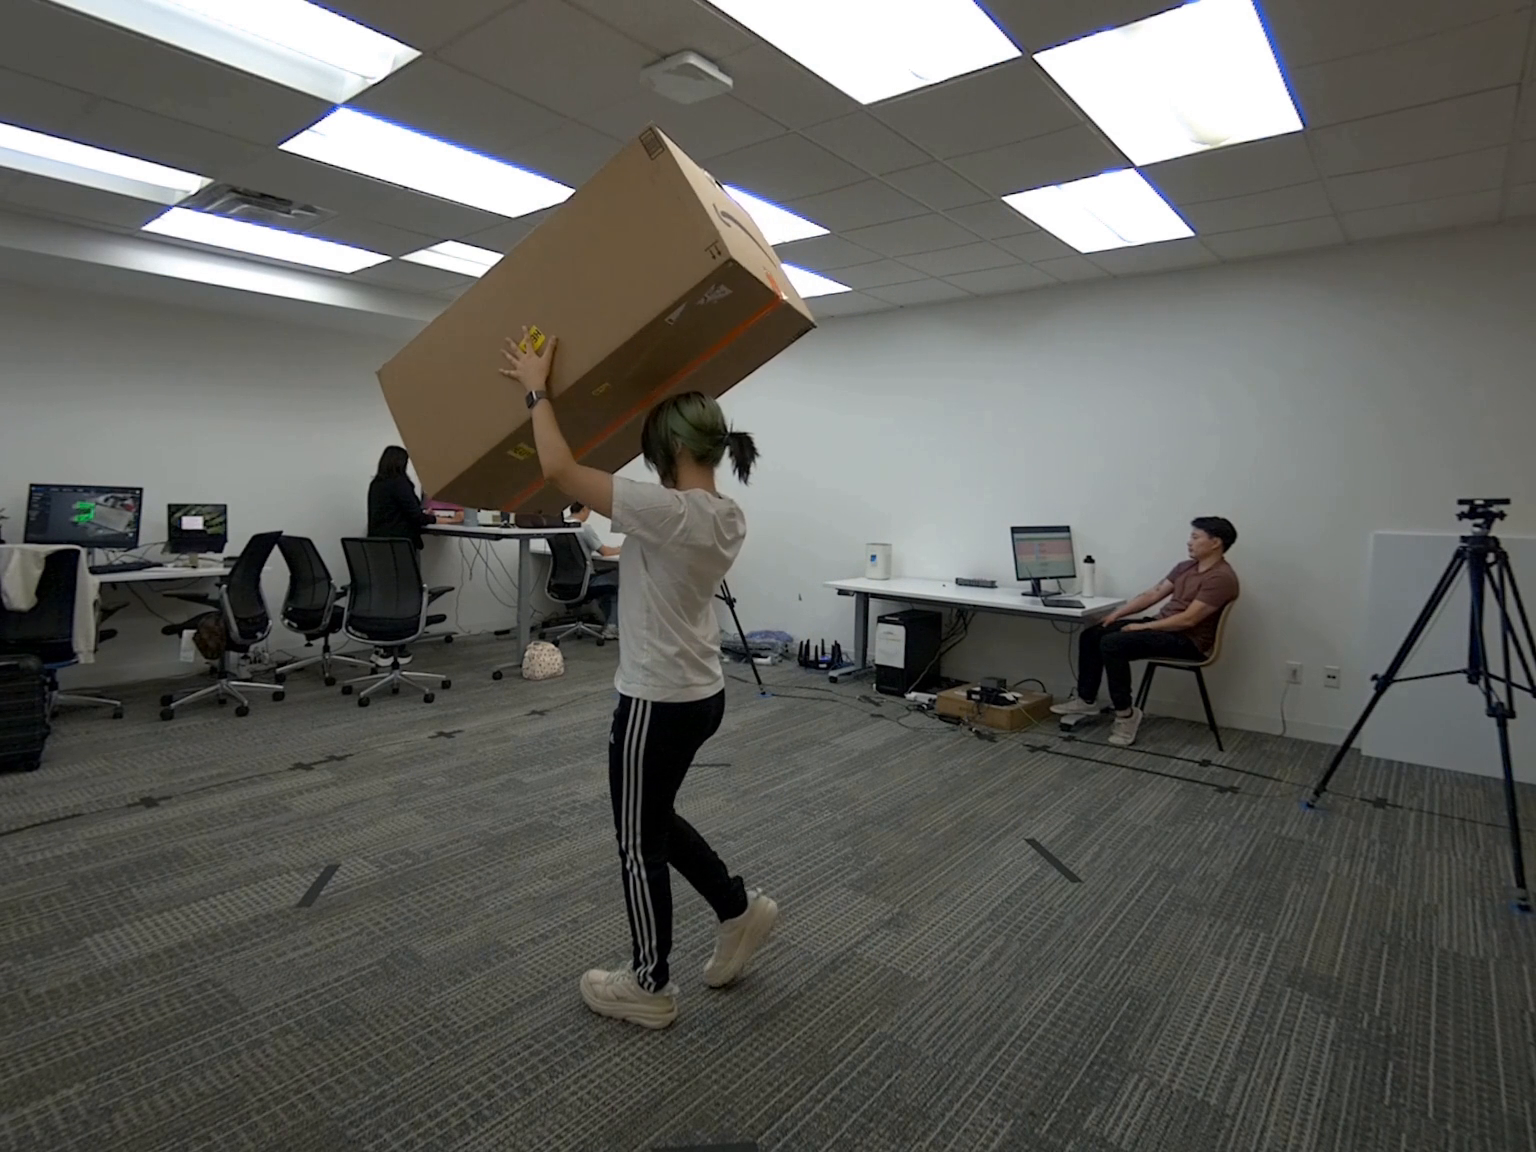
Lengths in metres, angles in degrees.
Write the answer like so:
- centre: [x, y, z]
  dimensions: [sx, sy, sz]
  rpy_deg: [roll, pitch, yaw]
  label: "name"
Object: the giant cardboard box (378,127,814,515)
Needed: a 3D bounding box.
- centre: [-0.482, -0.623, 2.372]
  dimensions: [1.034, 0.455, 0.570]
  rpy_deg: [-33, -12, 20]
  label: "giant cardboard box"
